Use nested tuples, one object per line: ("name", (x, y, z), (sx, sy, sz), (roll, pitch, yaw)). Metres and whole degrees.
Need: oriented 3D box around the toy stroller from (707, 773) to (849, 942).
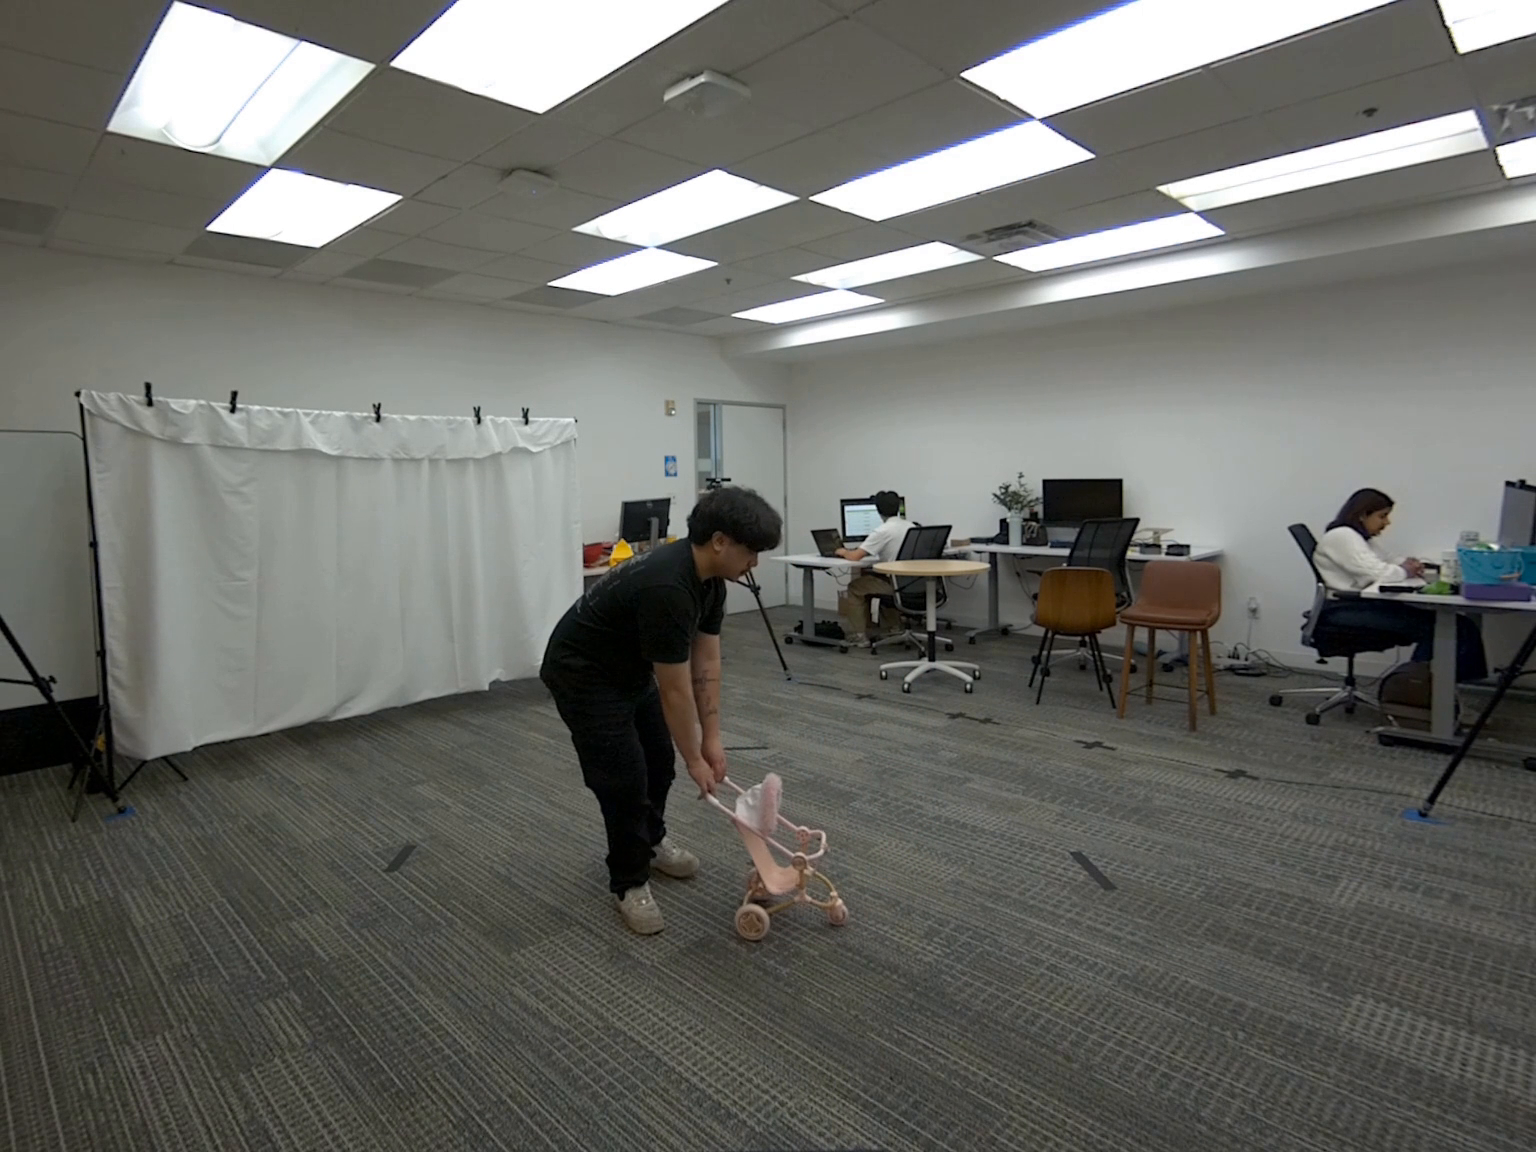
("toy stroller", (0.037, 0.866, 2.684), (0.345, 0.534, 0.279), (-15, 1, 14))
